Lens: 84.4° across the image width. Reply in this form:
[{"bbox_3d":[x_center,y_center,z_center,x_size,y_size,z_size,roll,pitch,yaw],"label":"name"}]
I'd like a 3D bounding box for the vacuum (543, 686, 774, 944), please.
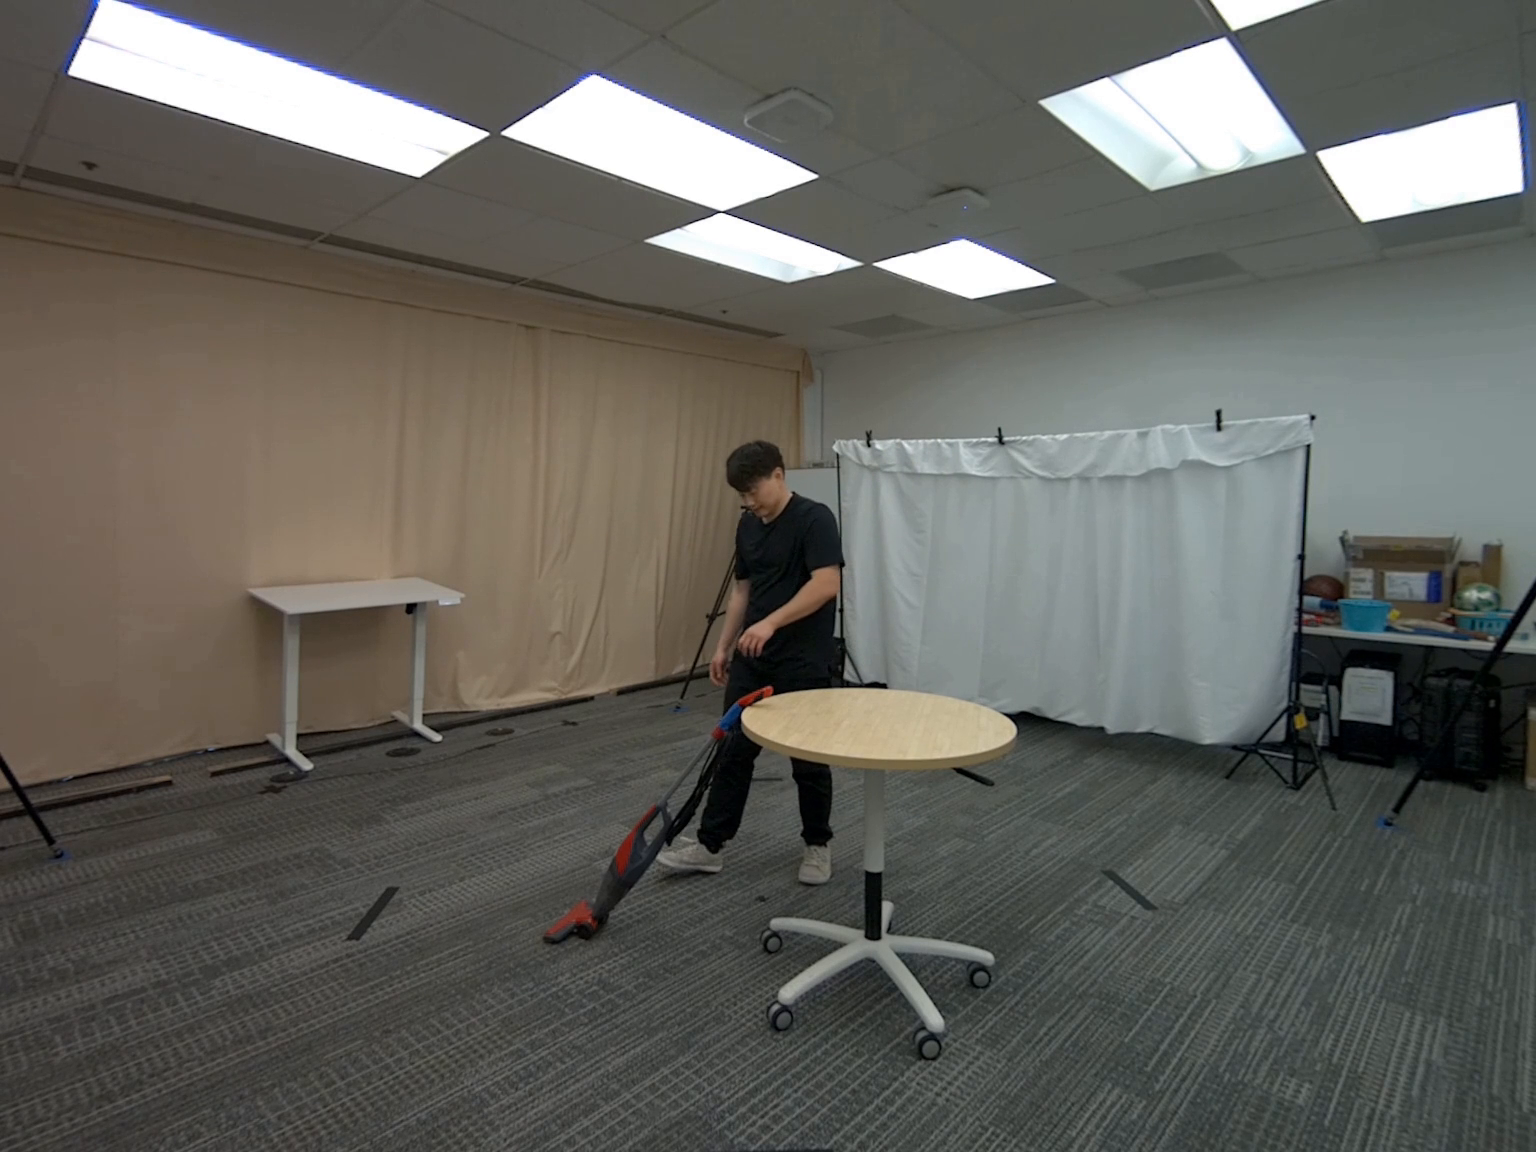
[{"bbox_3d":[-0.321,0.753,2.658,0.146,1.051,0.248,40,15,13],"label":"vacuum"}]
